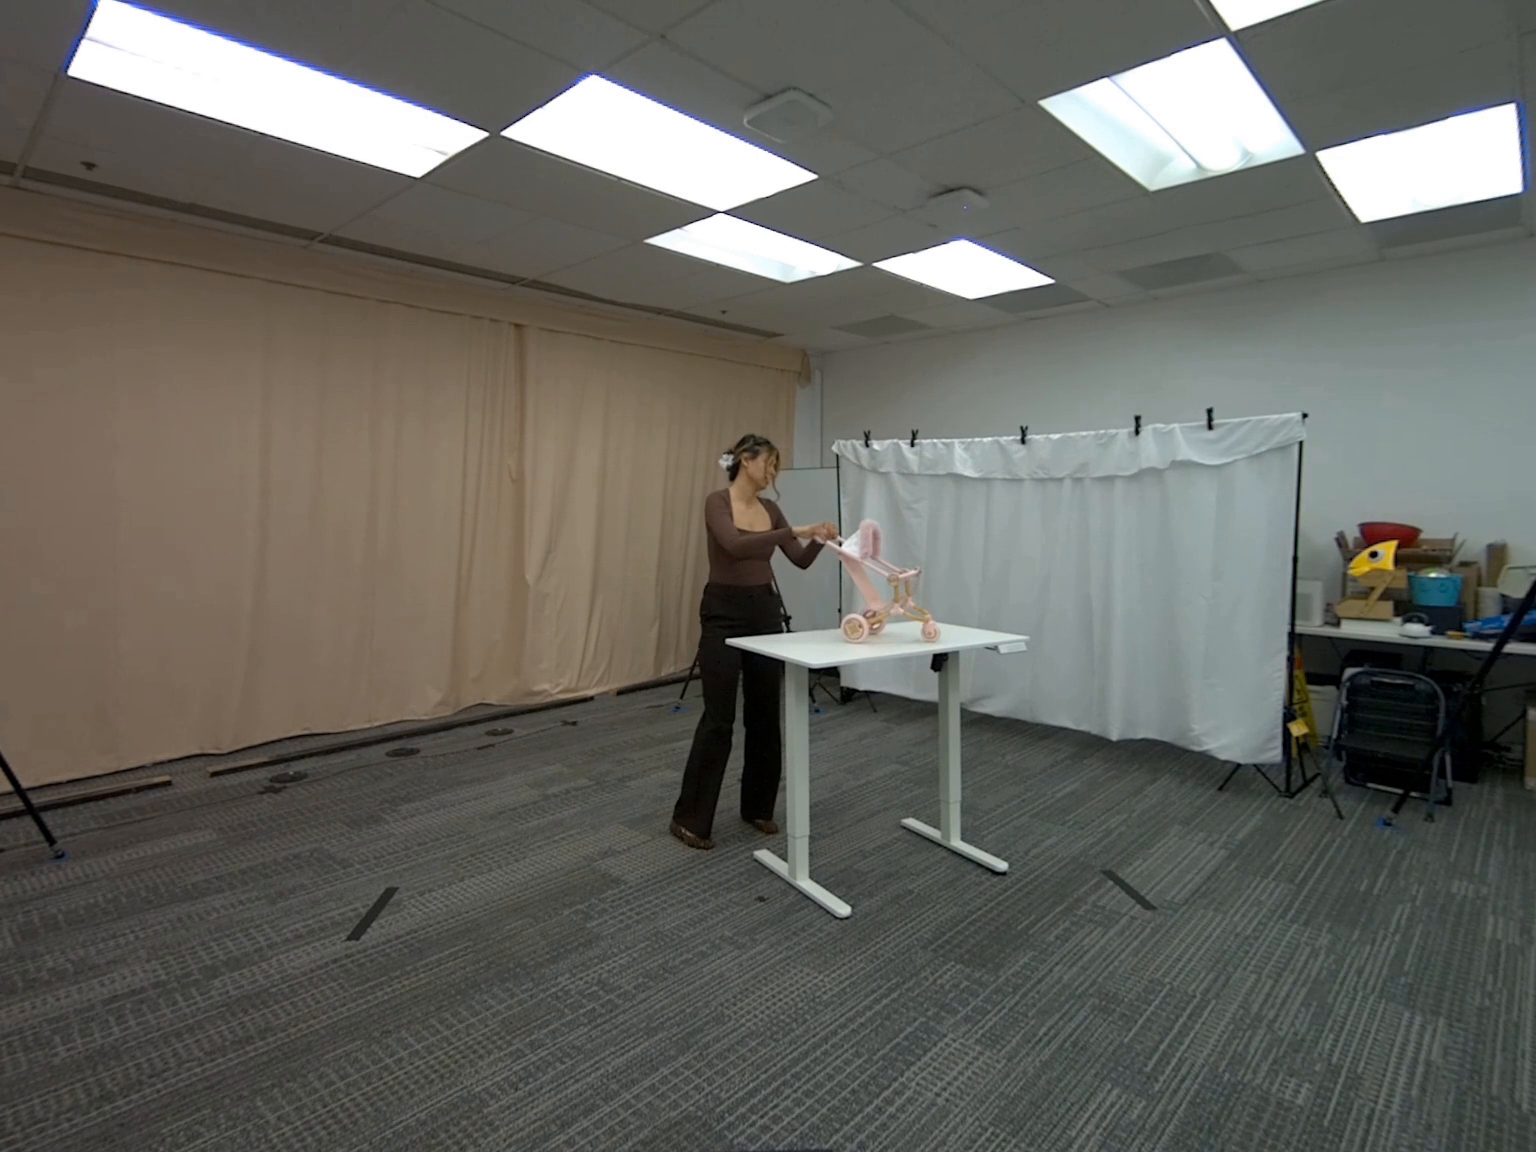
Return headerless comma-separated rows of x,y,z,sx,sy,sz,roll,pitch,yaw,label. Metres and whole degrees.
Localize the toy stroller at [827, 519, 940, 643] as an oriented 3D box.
0.416,0.023,3.189,0.348,0.537,0.274,-18,-5,29,toy stroller
